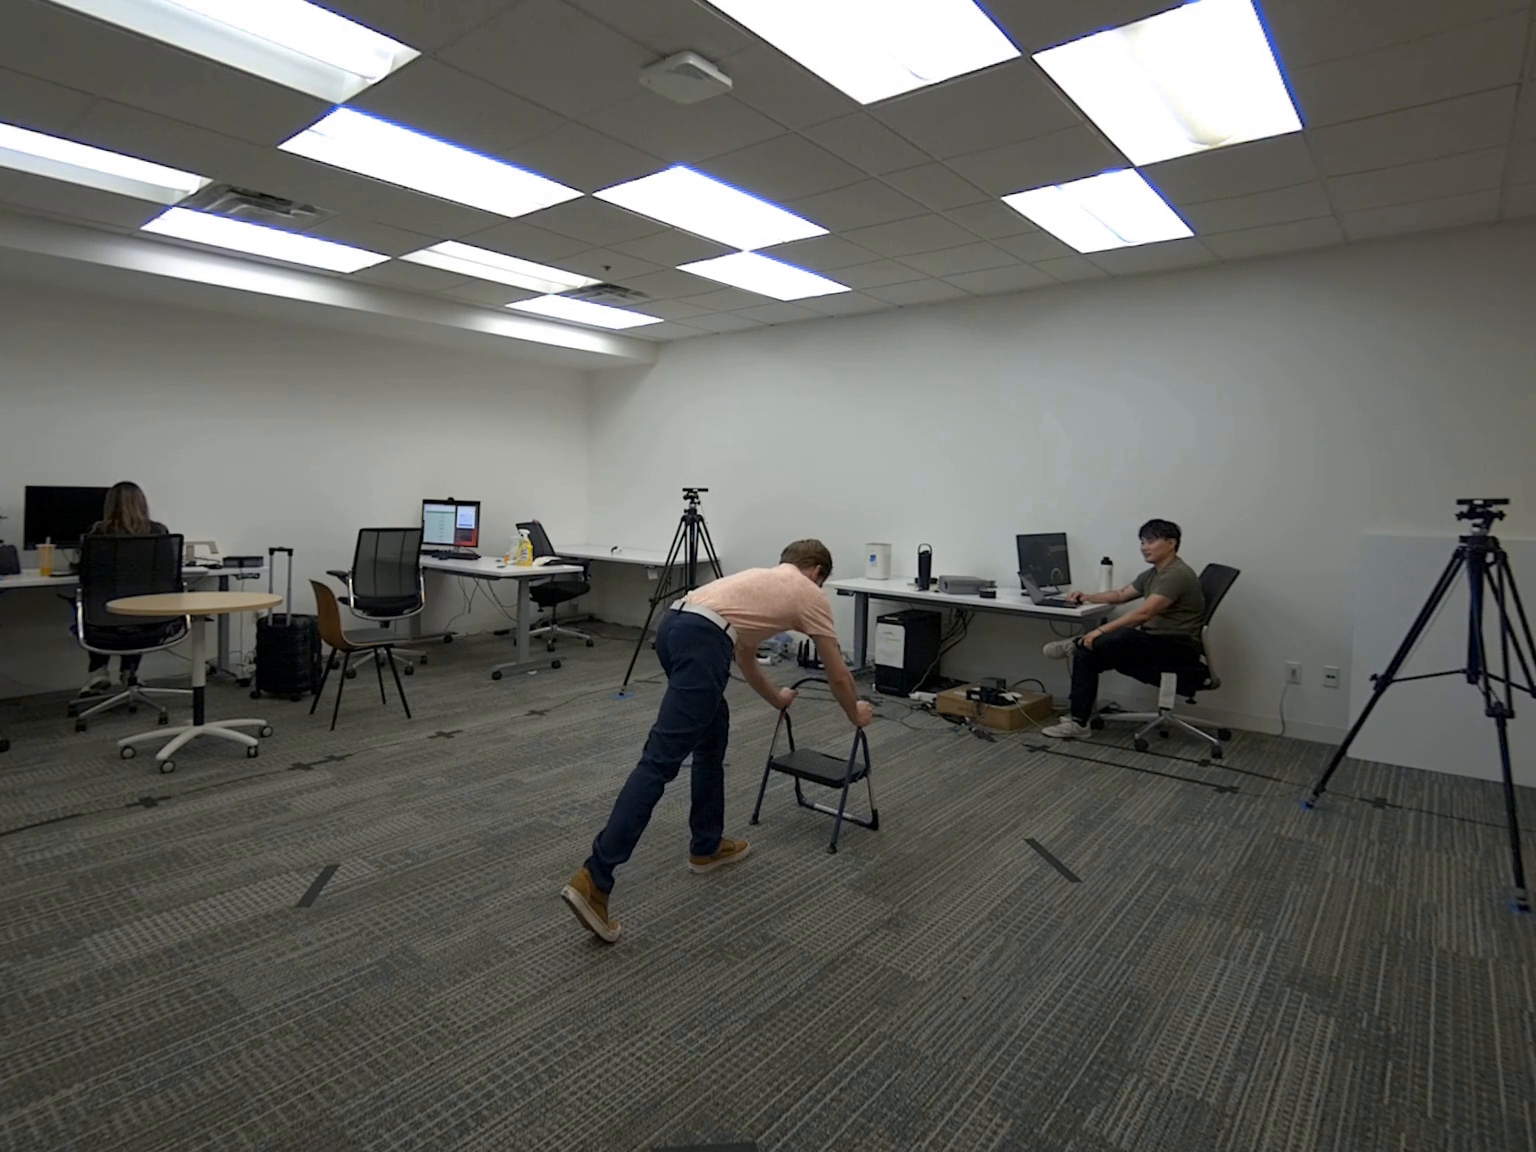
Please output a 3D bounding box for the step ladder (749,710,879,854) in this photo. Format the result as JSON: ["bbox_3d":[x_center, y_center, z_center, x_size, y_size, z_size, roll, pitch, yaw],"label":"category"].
[{"bbox_3d":[0.190,0.736,3.520,0.445,0.604,0.339,4,5,40],"label":"step ladder"}]
